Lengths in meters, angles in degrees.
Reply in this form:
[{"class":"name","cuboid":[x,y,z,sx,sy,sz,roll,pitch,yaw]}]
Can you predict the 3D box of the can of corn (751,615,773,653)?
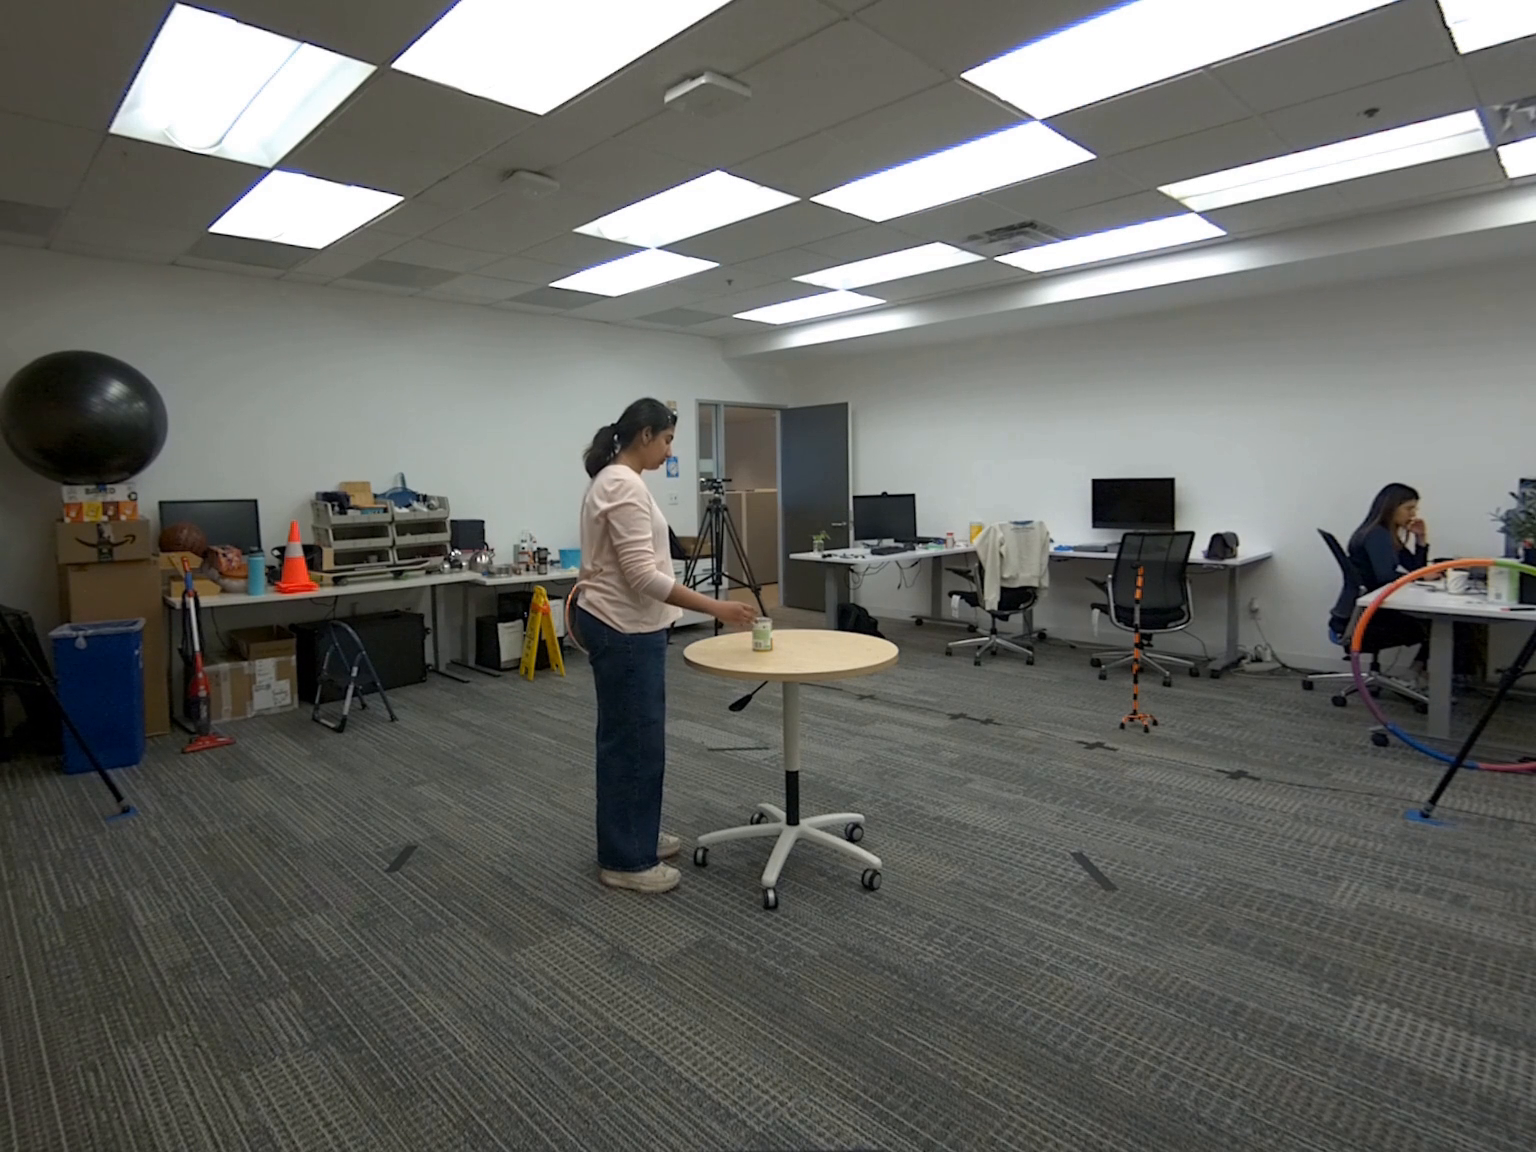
[{"class":"can of corn","cuboid":[-0.025,0.210,3.049,0.074,0.110,0.074,-3,5,-1]}]
